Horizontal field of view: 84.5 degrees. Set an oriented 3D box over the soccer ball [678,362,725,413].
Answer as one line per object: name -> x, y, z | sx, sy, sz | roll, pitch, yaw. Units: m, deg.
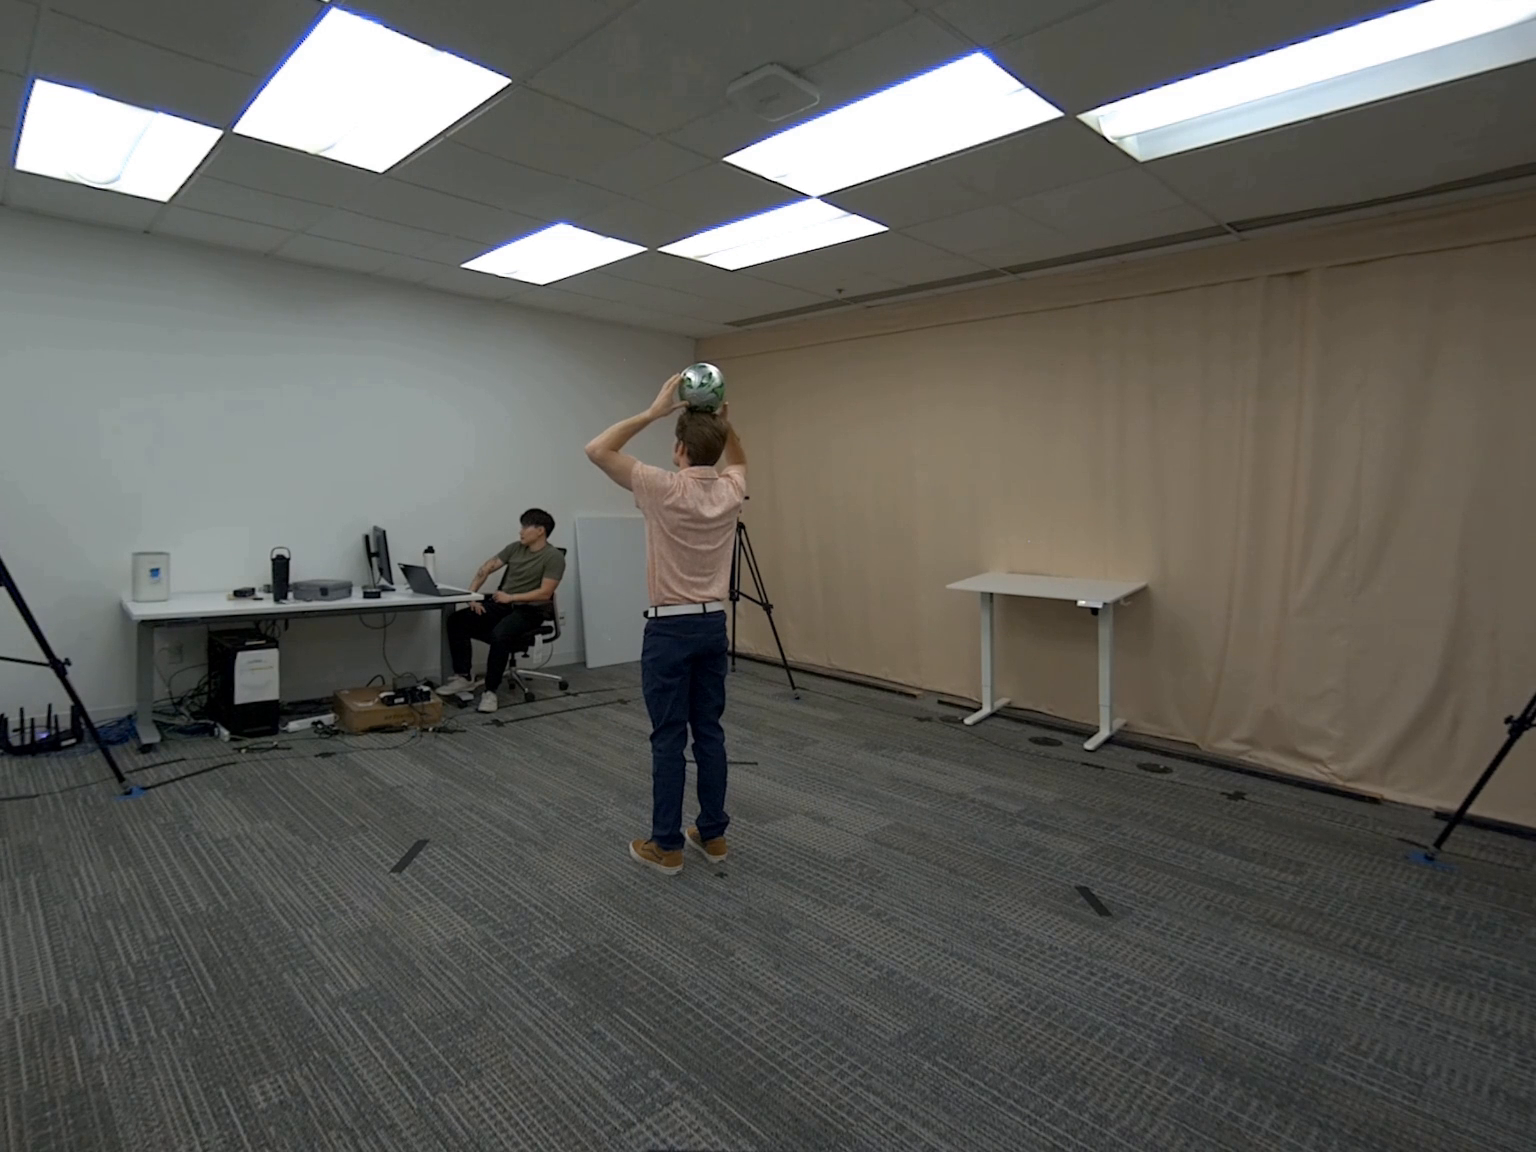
soccer ball -> -0.254, -0.695, 3.133 | 0.187, 0.187, 0.188 | 1, 4, -1
